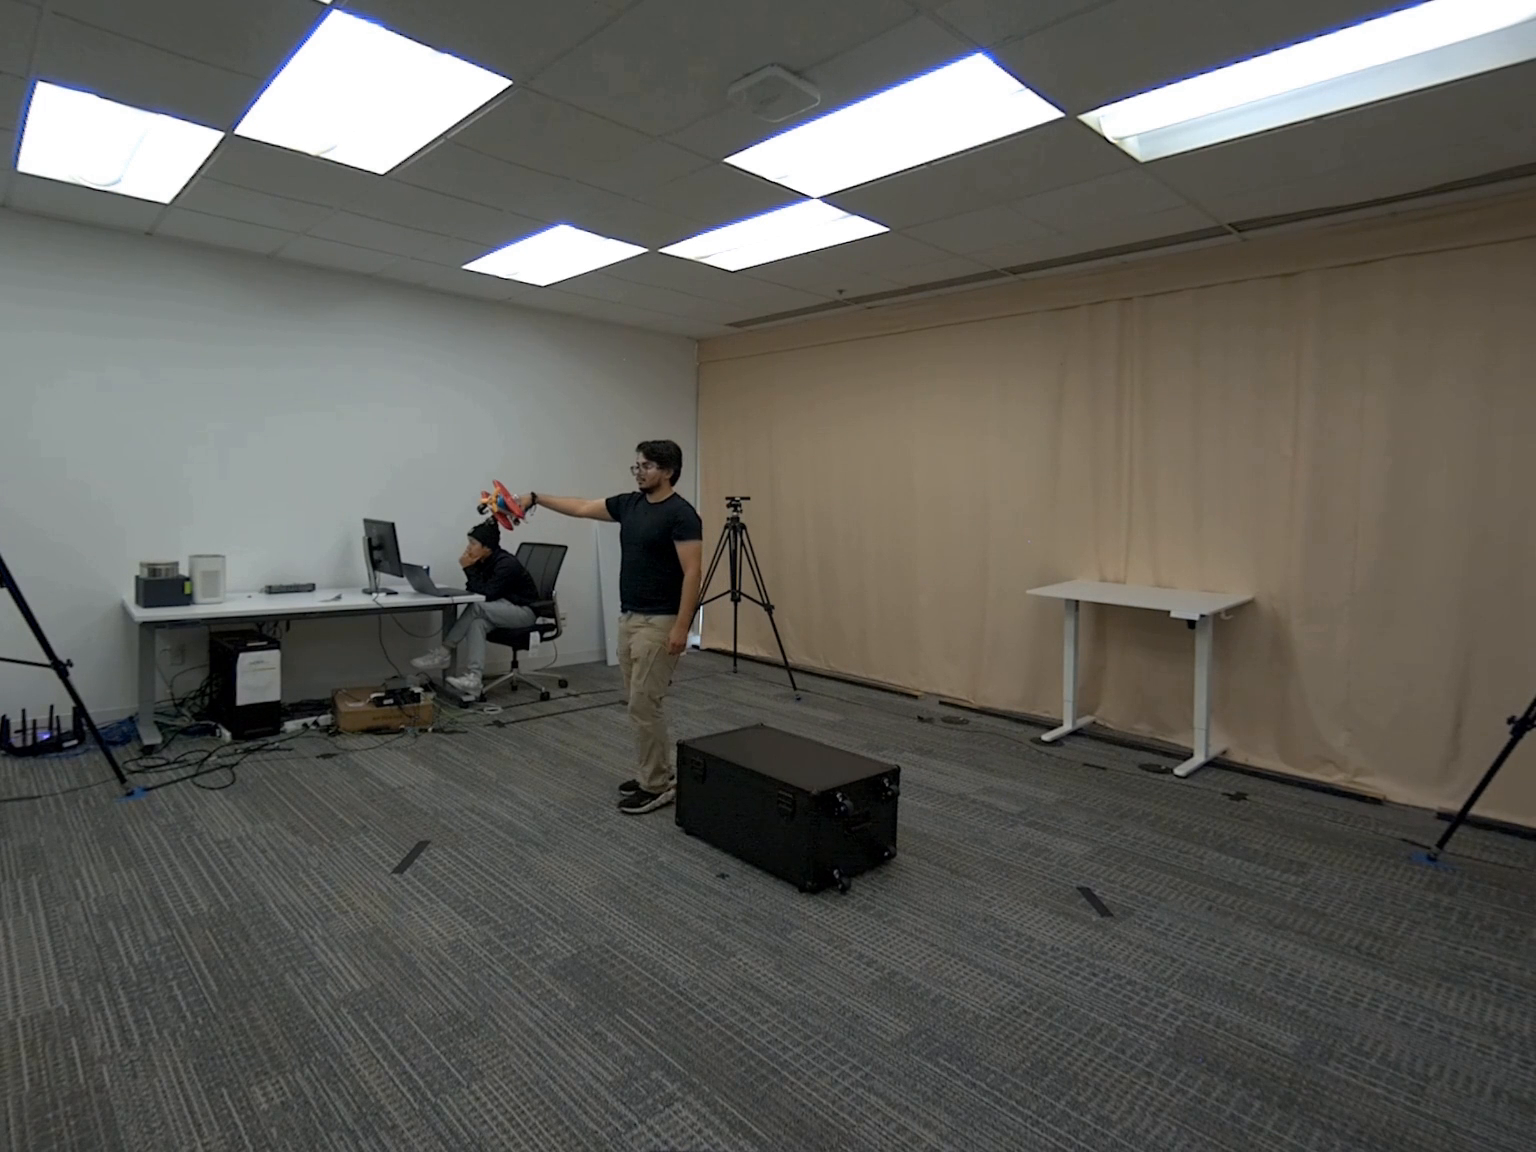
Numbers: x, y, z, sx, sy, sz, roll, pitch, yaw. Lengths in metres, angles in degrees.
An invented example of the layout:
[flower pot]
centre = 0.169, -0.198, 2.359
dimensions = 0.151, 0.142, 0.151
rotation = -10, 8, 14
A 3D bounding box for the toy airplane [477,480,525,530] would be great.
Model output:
[toy airplane]
centre = -1.262, -0.332, 3.975
dimensions = 0.250, 0.156, 0.260
rotation = 40, 22, -4
